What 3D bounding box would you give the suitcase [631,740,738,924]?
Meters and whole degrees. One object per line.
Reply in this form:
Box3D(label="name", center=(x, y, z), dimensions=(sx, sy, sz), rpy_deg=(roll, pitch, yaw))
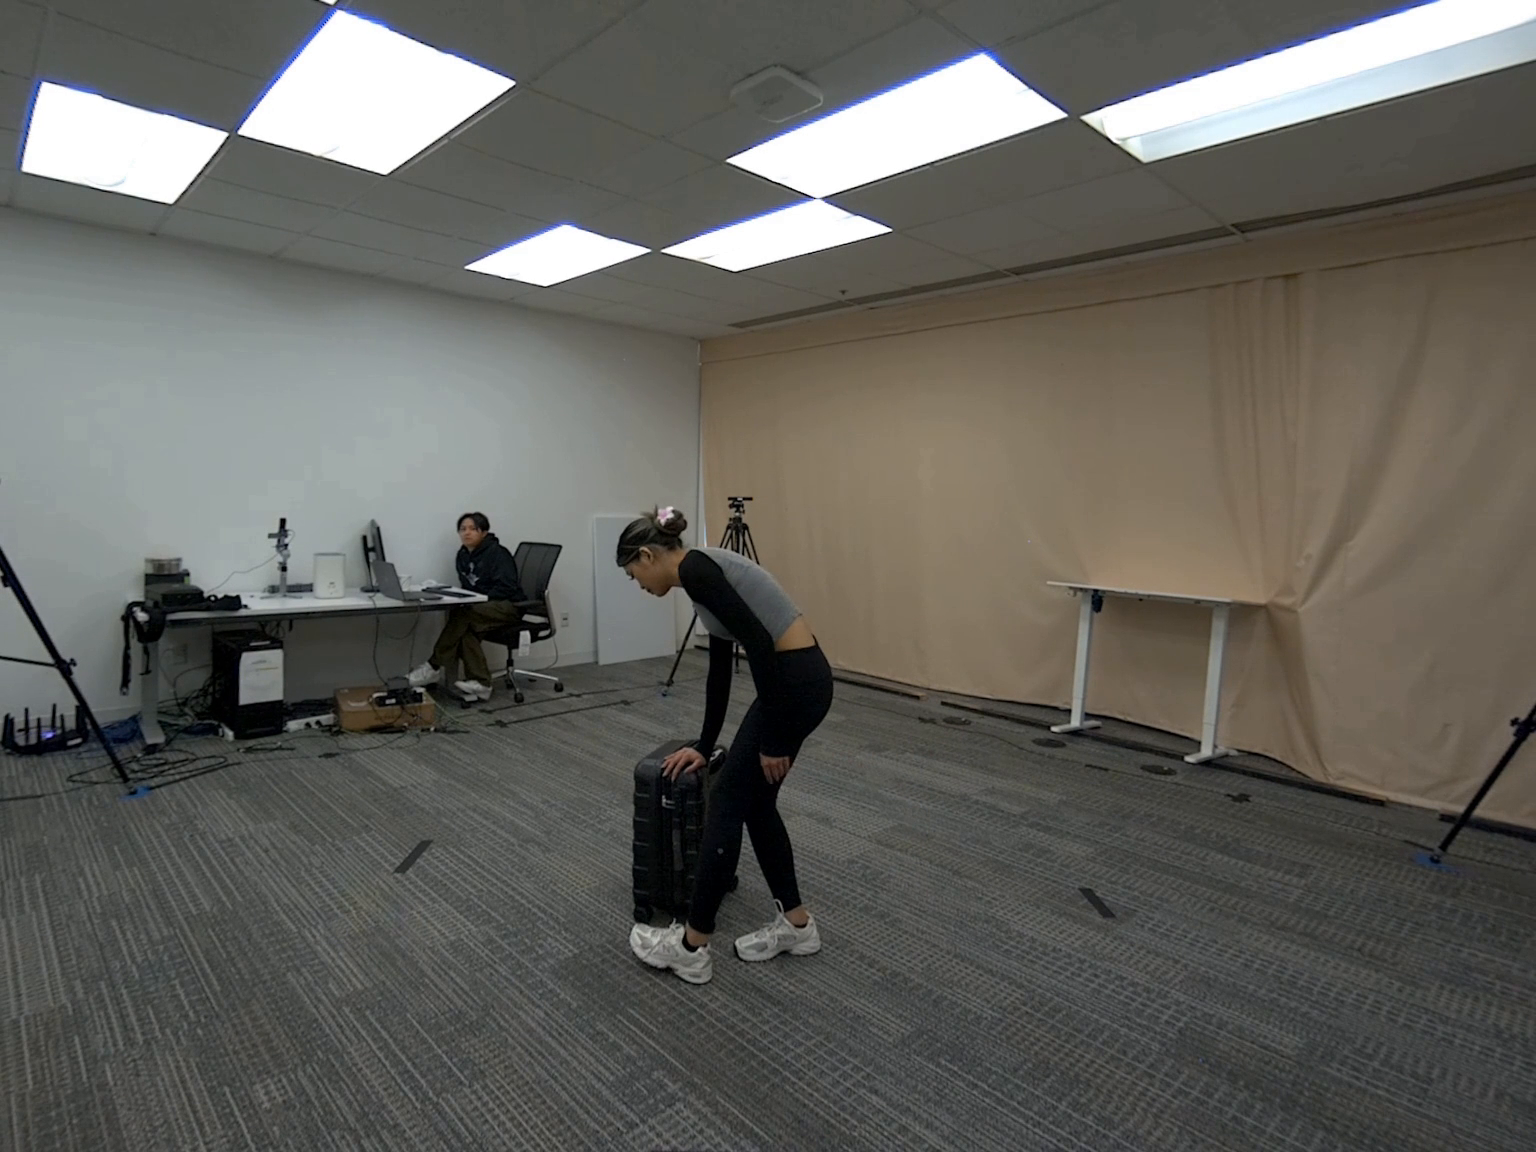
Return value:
Box3D(label="suitcase", center=(-0.292, 0.851, 2.857), dimensions=(0.252, 0.548, 0.371), rpy_deg=(1, 4, 16))
